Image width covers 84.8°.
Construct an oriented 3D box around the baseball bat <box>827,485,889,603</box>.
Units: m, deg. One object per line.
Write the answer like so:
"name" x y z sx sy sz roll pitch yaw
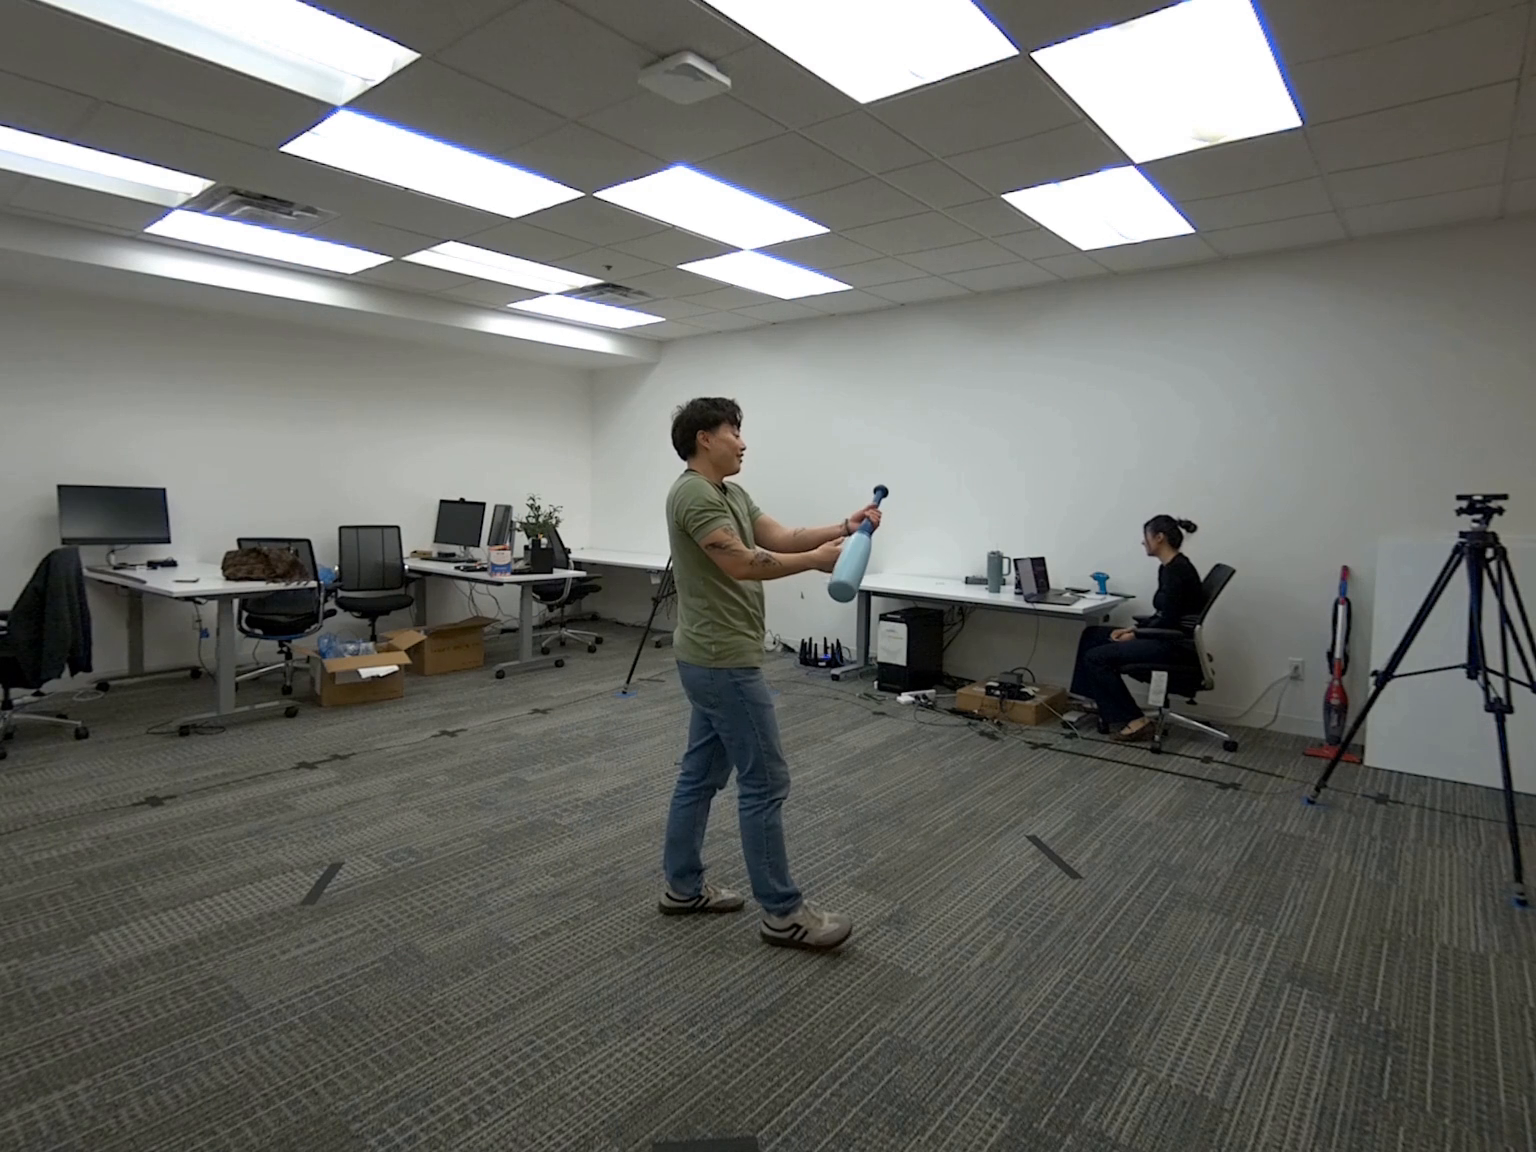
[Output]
"baseball bat" 0.287 -0.114 2.612 0.091 0.086 0.548 2 38 22
